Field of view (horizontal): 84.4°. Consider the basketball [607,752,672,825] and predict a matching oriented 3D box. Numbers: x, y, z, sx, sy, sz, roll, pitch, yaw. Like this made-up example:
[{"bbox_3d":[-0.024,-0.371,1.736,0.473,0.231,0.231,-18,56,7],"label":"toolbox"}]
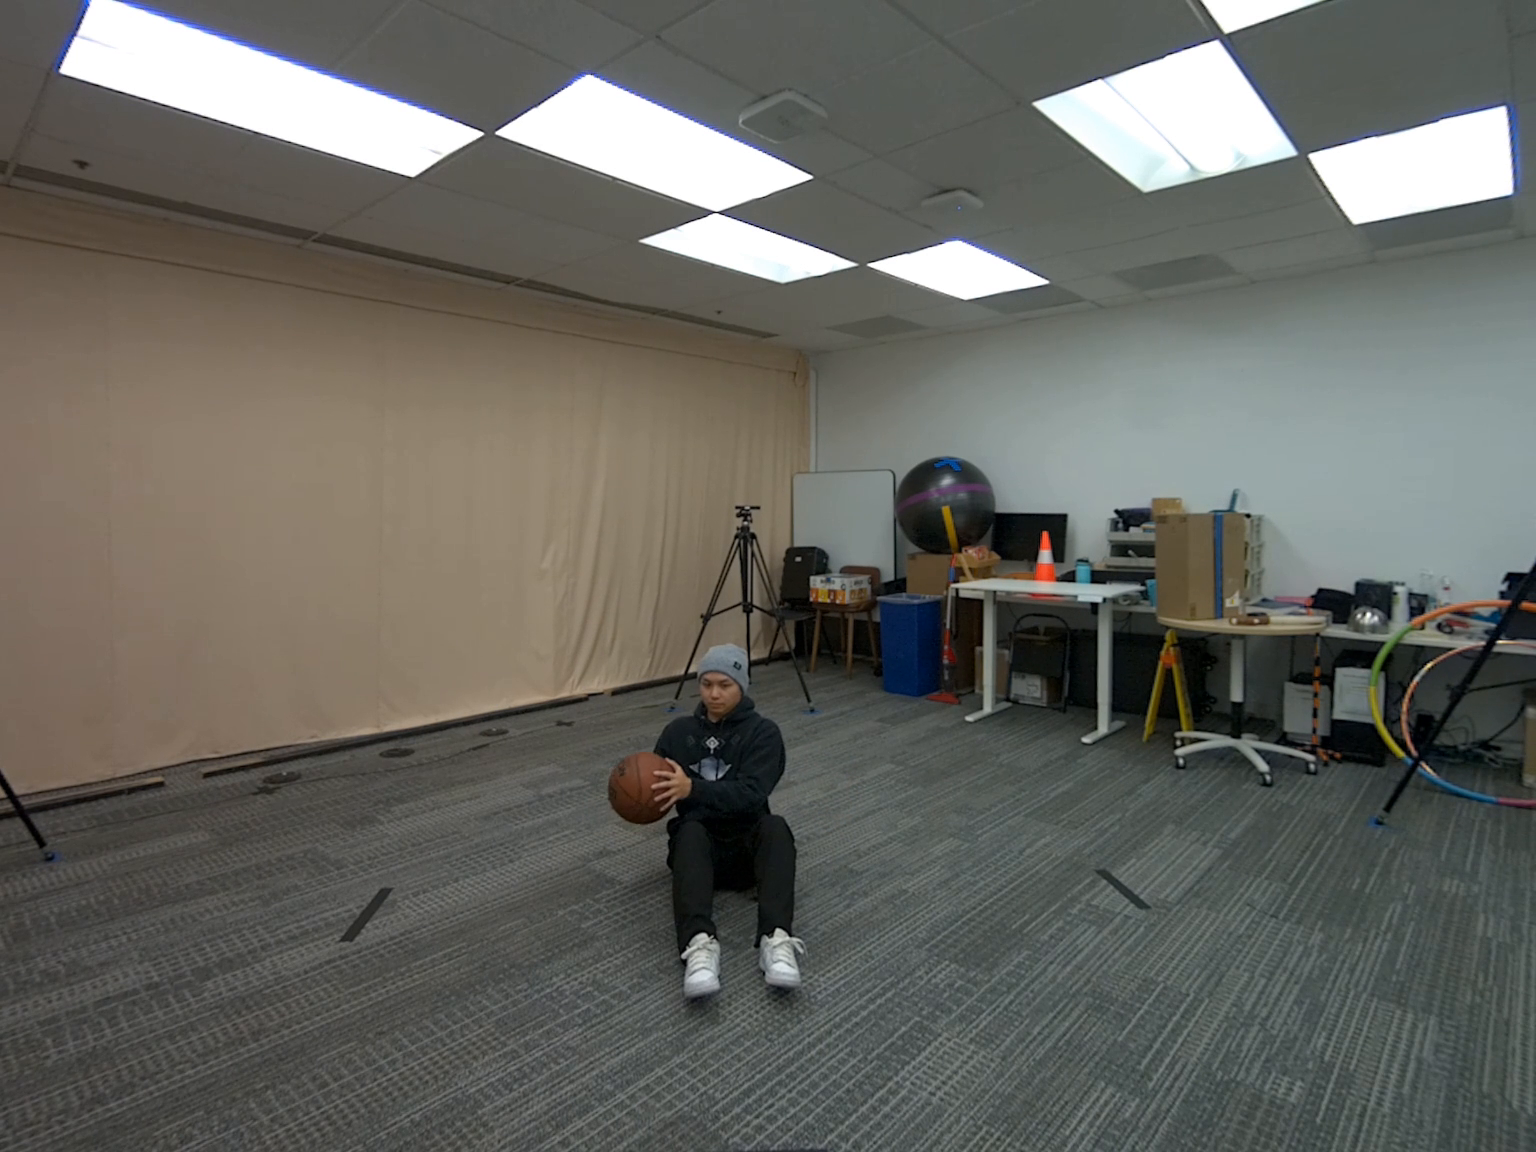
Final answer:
[{"bbox_3d":[-0.426,0.724,2.884,0.236,0.235,0.237,0,4,-2],"label":"basketball"}]
